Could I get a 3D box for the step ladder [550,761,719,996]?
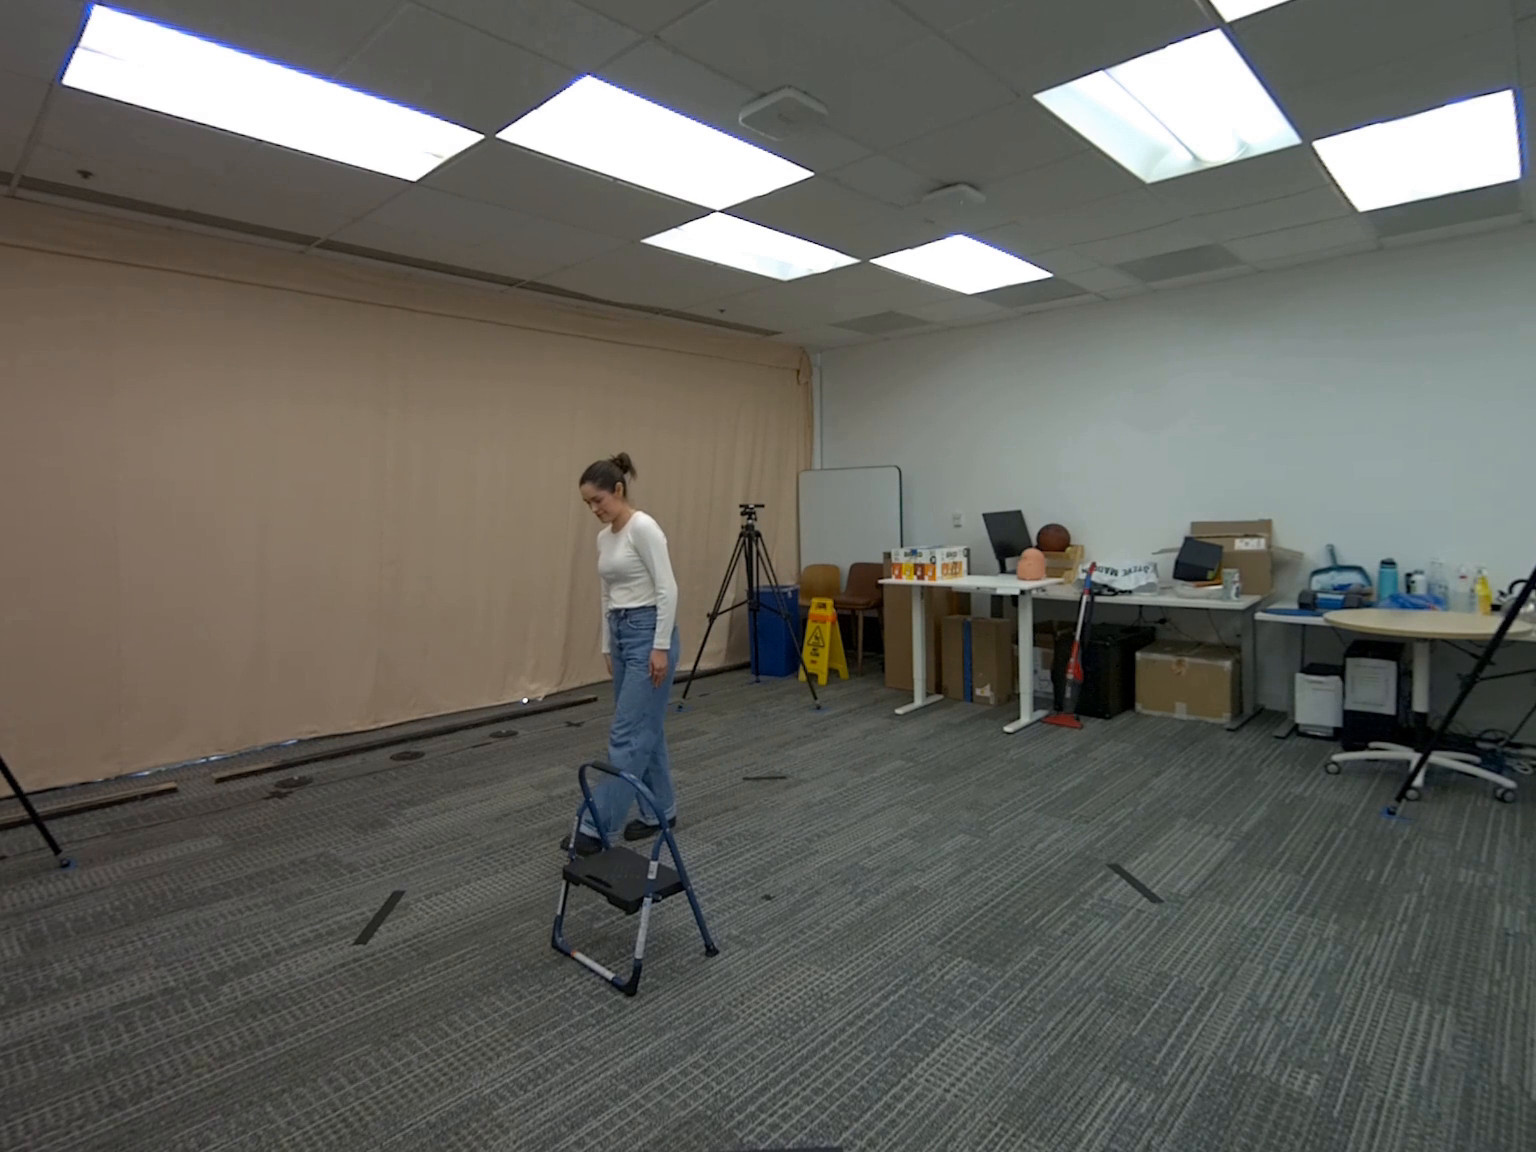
[{"bbox_3d":[-0.427,0.878,2.634,0.445,0.605,0.339,2,4,43],"label":"step ladder"}]
